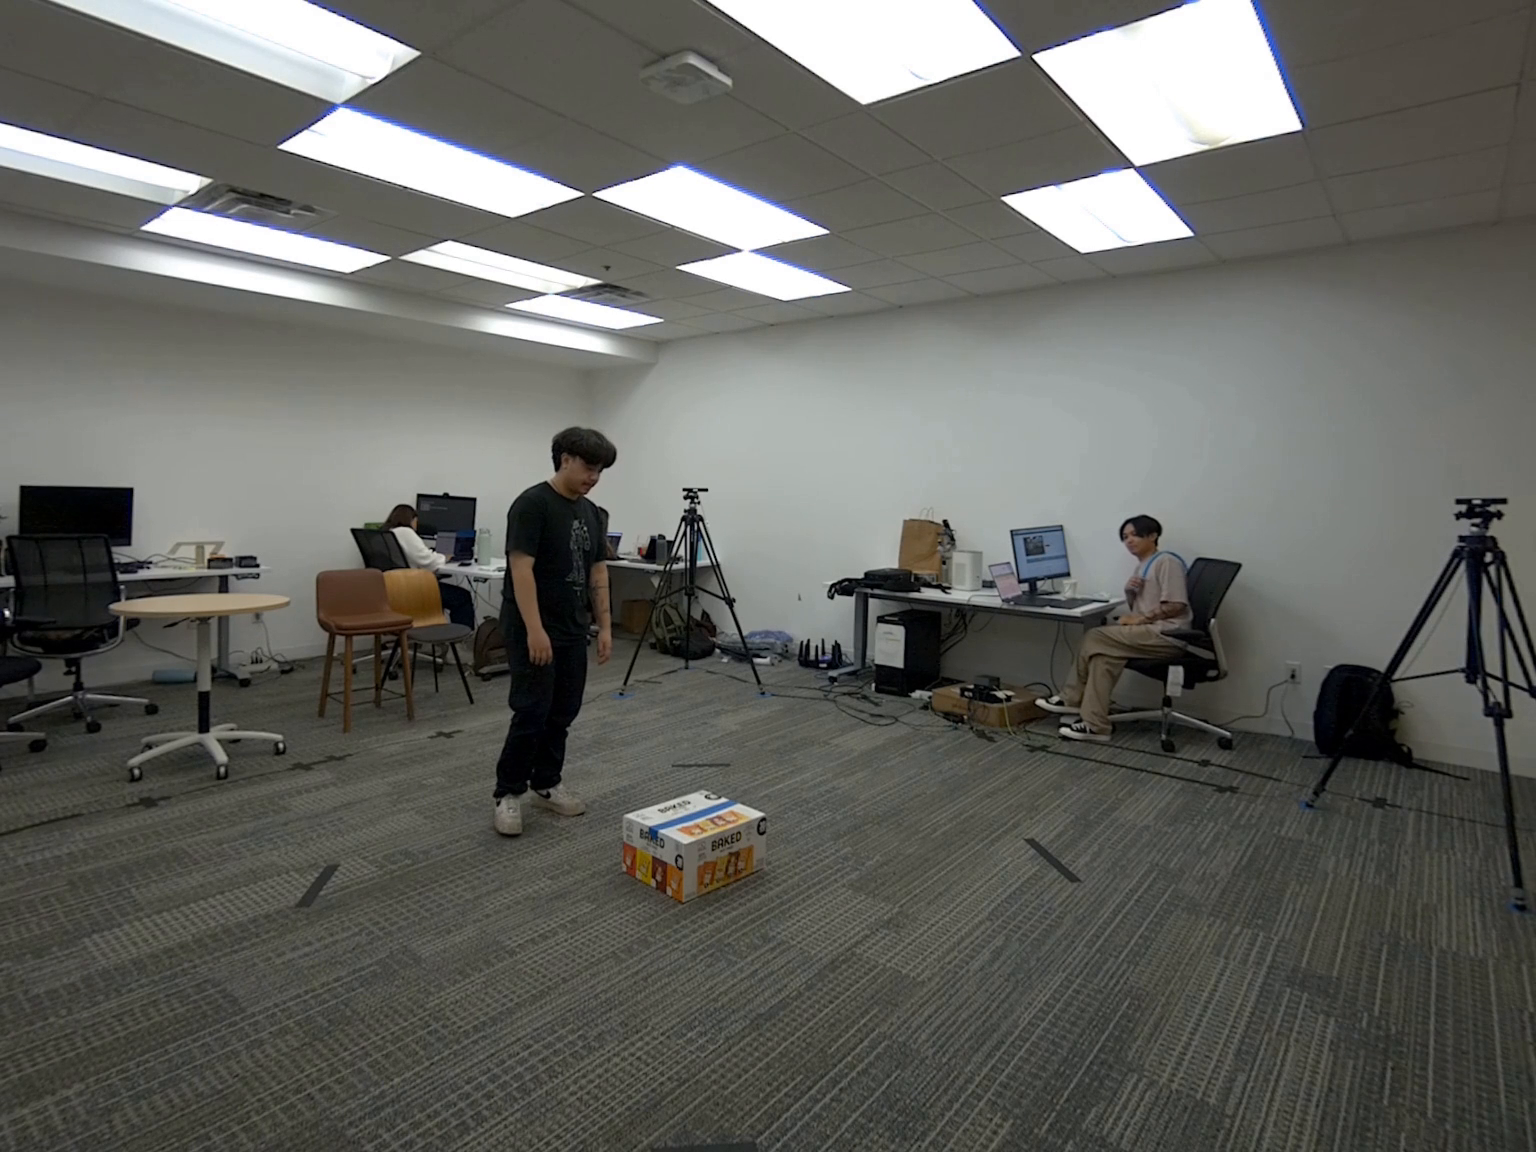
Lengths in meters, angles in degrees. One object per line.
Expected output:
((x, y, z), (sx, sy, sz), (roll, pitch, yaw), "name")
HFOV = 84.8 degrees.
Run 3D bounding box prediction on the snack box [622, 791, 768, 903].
((-0.276, 0.968, 3.097), (0.352, 0.205, 0.393), (6, 7, 44), "snack box")
